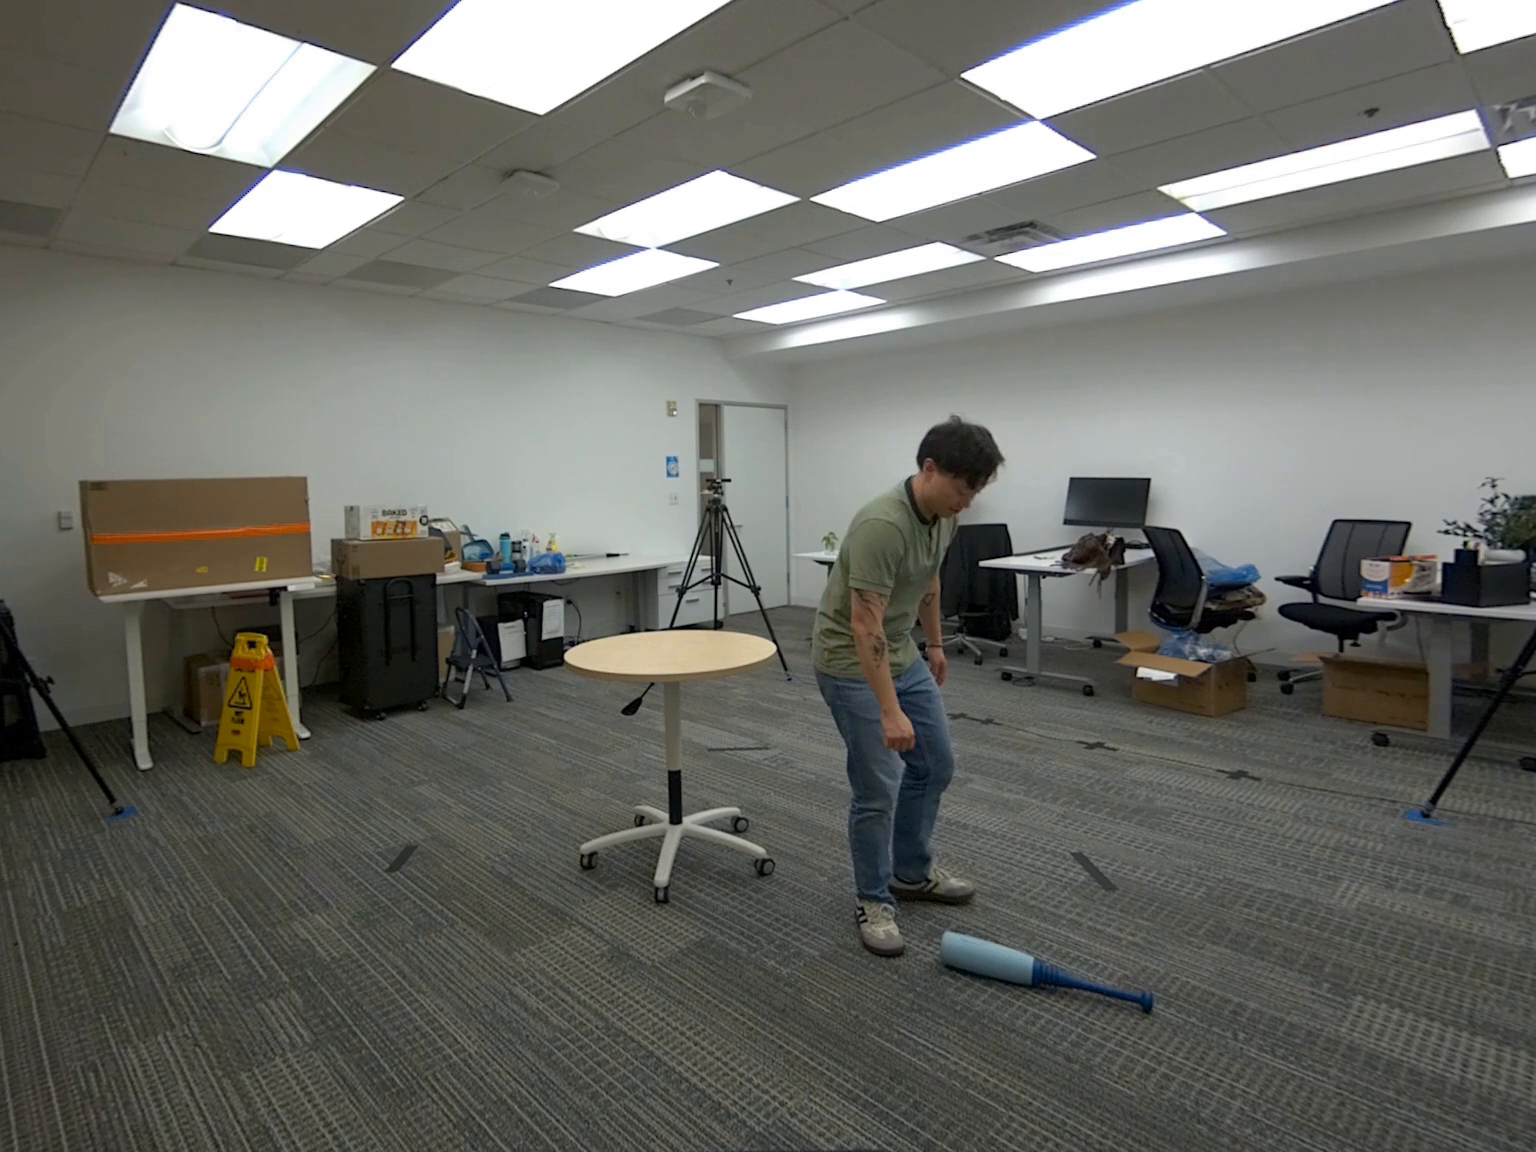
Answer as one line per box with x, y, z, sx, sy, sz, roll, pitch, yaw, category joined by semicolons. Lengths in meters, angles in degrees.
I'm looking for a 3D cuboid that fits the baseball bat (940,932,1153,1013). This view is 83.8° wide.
0.755;1.087;2.319;0.556;0.088;0.087;5;7;25;baseball bat
